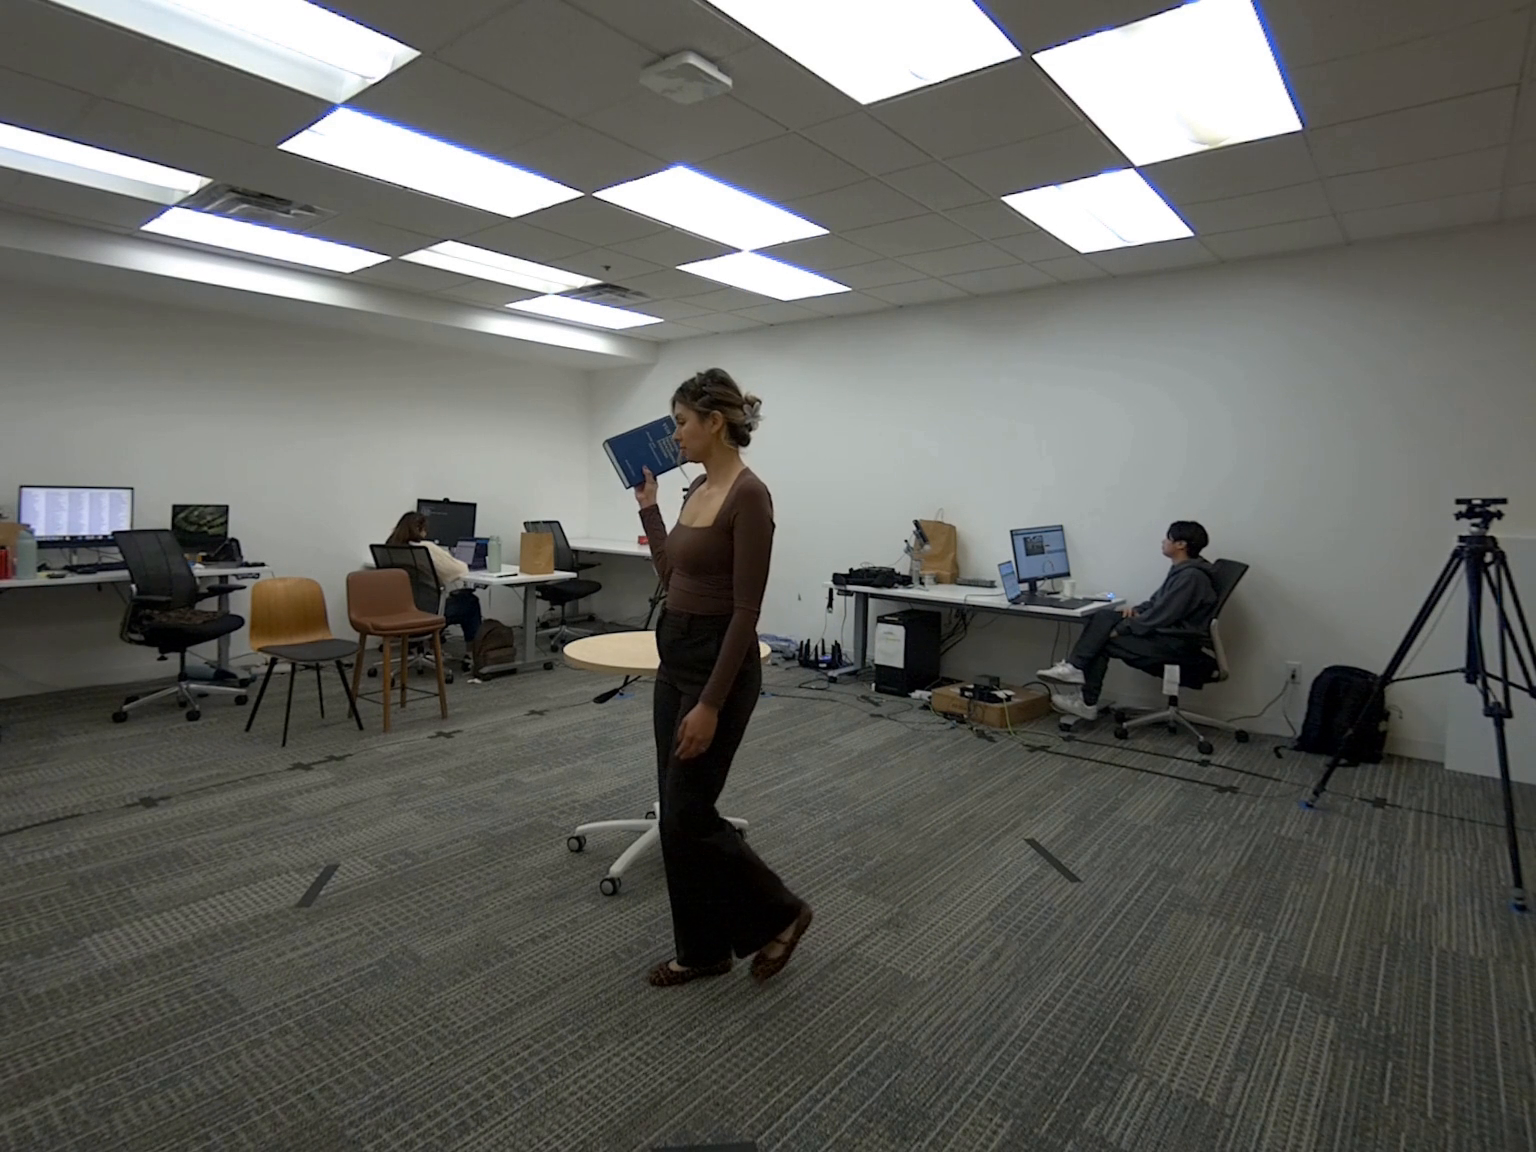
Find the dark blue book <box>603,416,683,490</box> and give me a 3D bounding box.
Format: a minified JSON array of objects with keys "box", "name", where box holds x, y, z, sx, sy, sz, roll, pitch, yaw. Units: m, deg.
[{"box":[-0.382,-0.392,2.672,0.242,0.164,0.045,-28,-4,-30],"name":"dark blue book"}]
